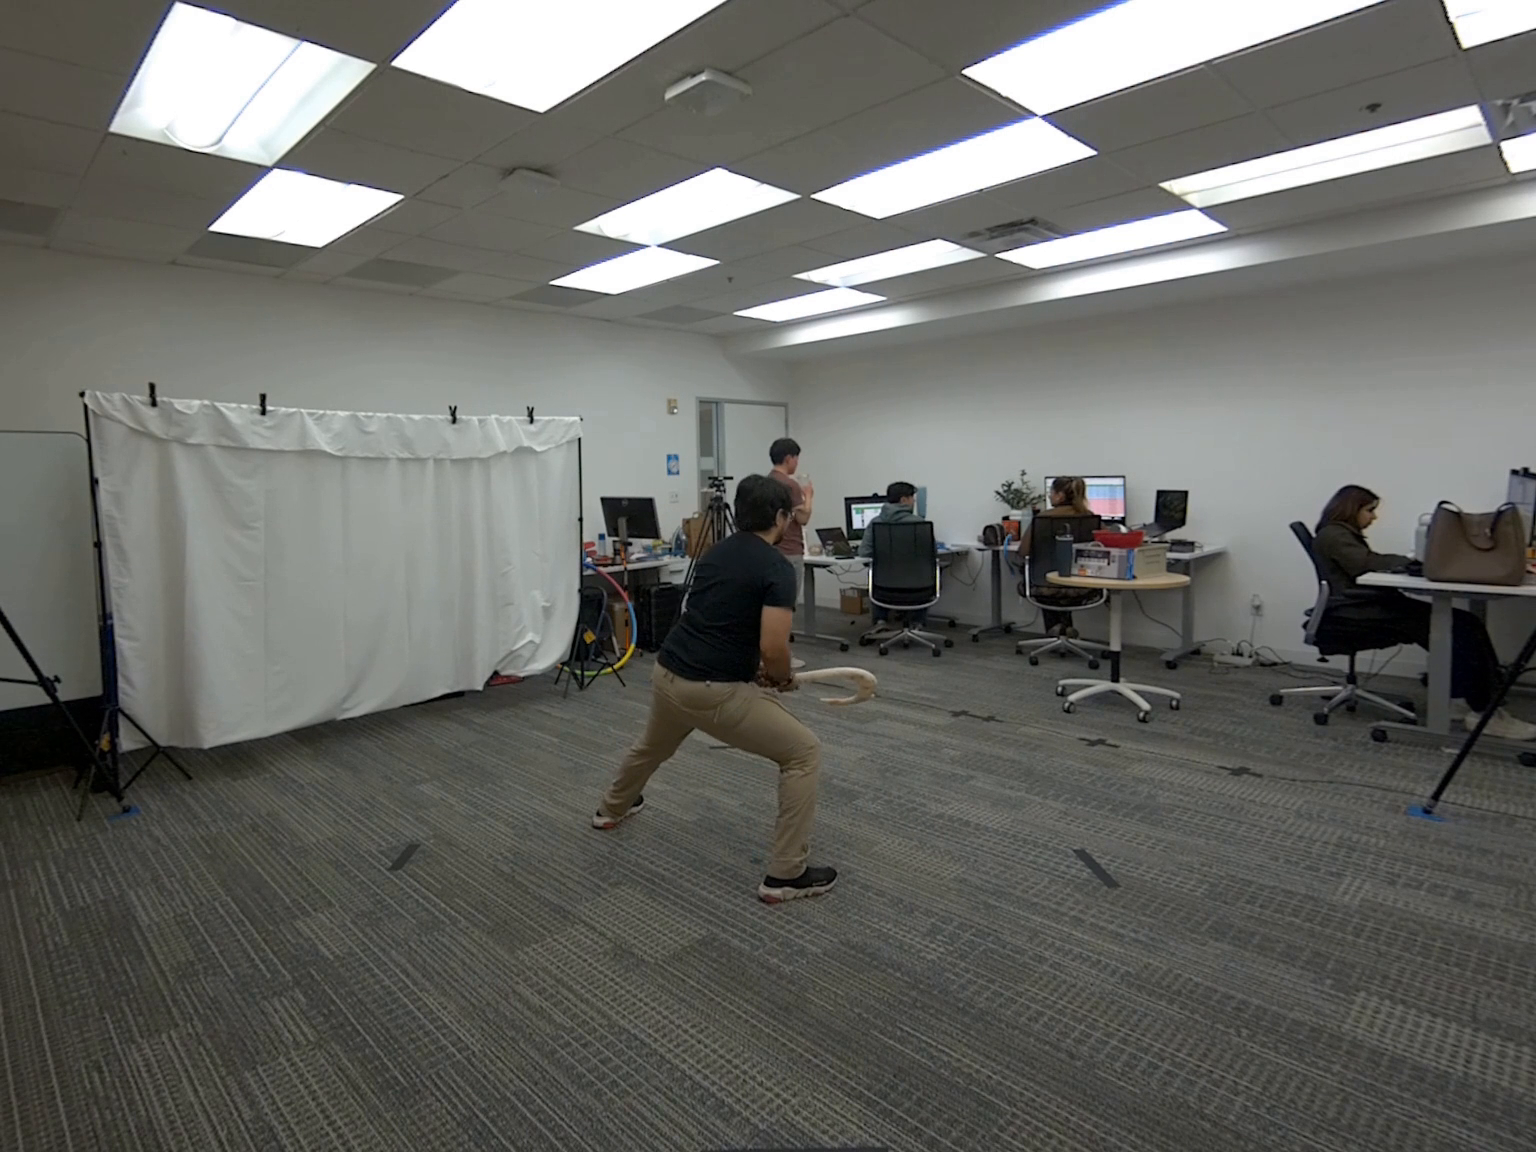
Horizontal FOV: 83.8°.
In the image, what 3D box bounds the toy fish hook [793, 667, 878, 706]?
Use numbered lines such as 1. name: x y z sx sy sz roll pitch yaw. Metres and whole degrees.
1. toy fish hook: 0.147 0.414 3.171 0.506 0.219 0.049 2 37 -1
